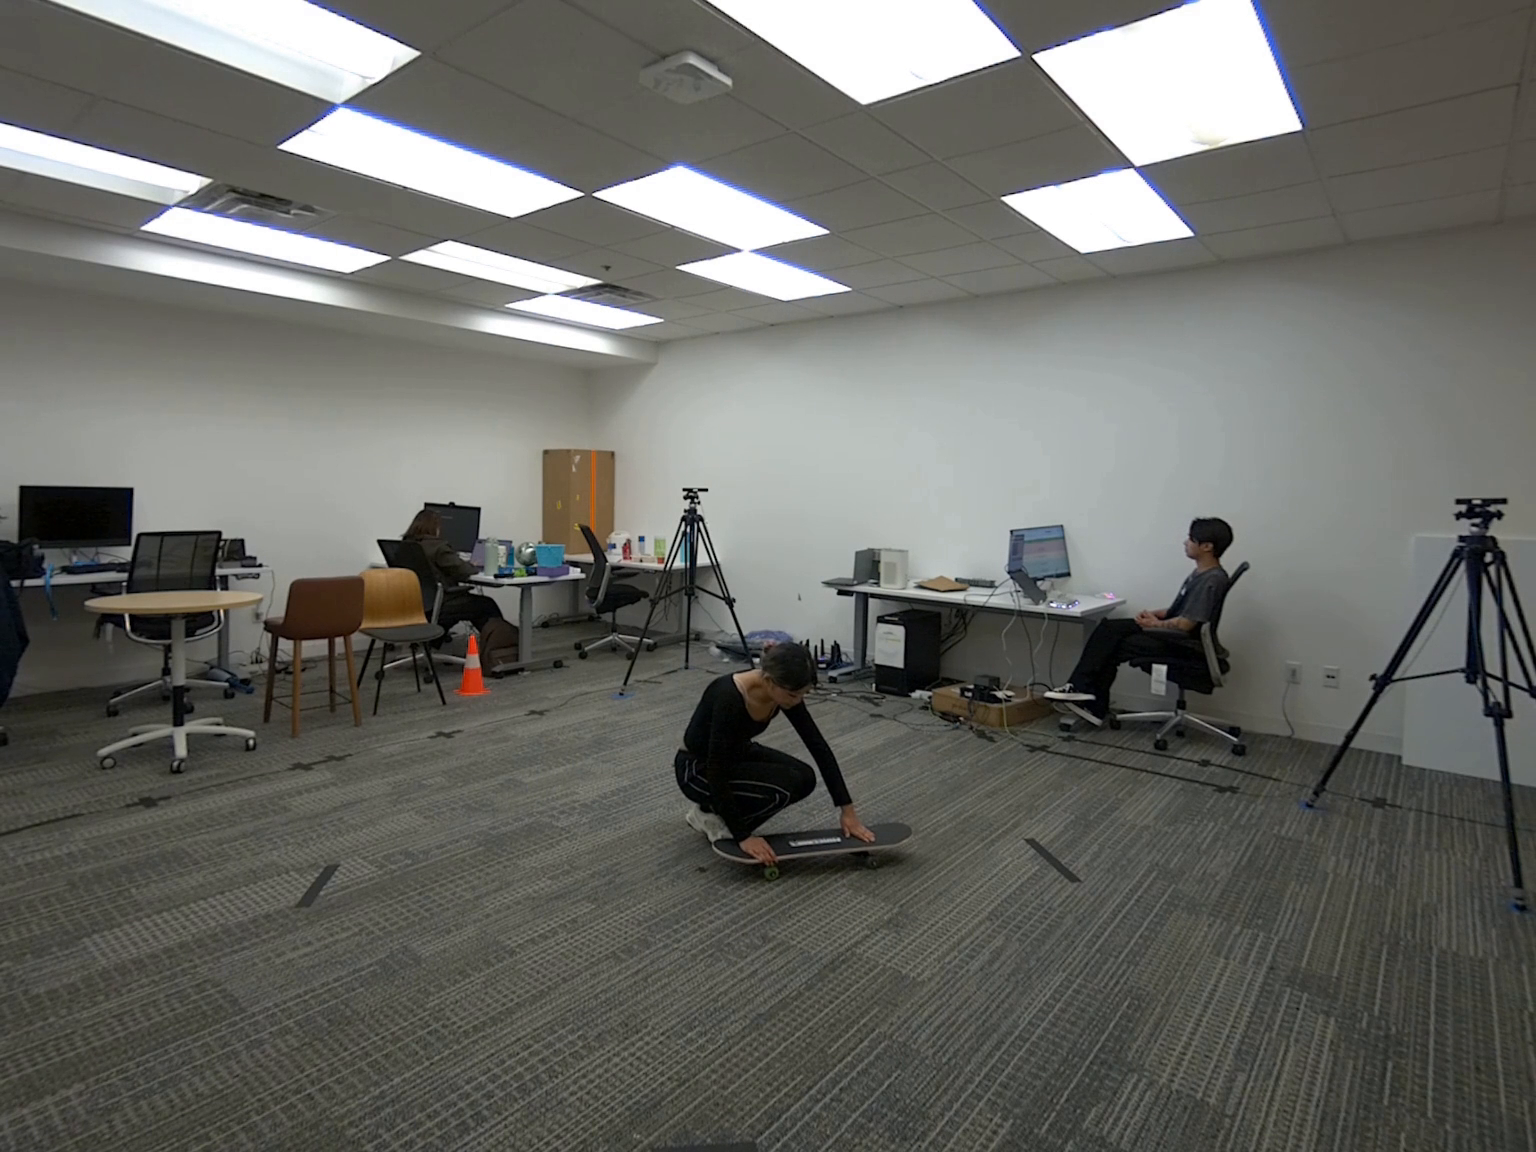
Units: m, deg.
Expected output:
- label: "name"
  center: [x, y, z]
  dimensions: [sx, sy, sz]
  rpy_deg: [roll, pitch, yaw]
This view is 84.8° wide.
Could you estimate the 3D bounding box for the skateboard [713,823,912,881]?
- label: "skateboard"
  center: [0.170, 1.013, 3.167]
  dimensions: [0.772, 0.110, 0.198]
  rpy_deg: [-1, 6, -17]
